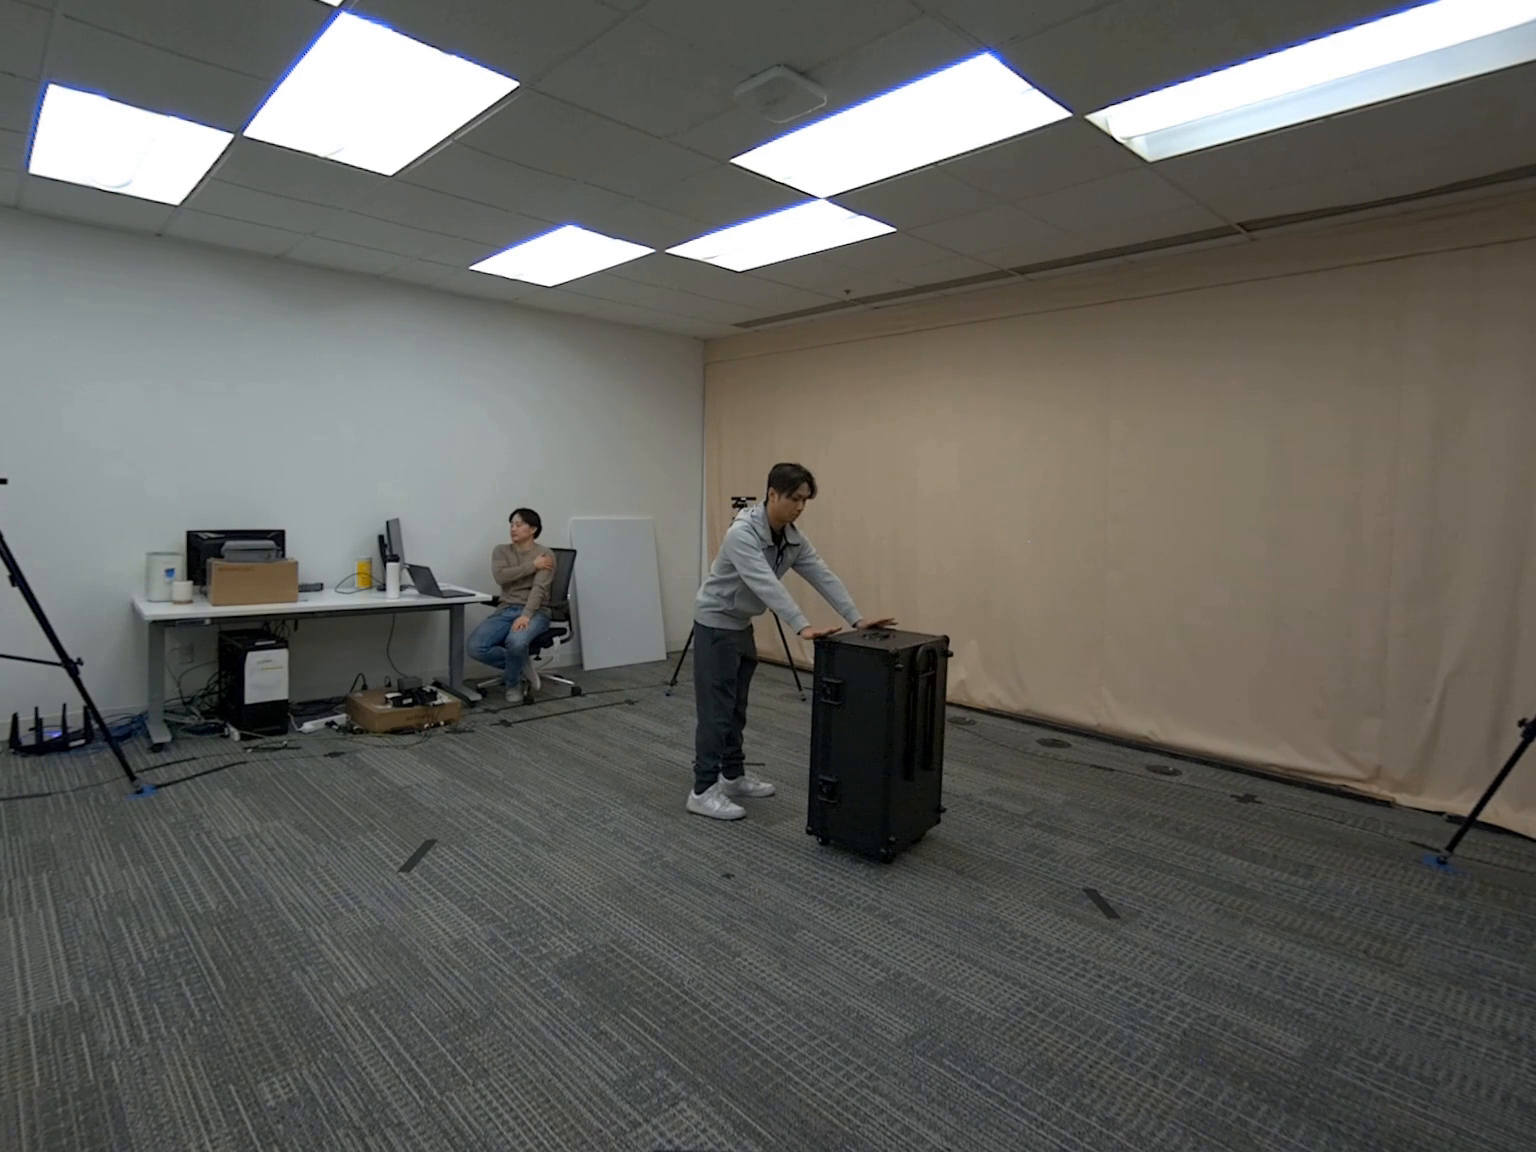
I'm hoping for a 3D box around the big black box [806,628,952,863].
[{"bbox_3d":[0.453,0.671,3.396,0.406,0.859,0.510,5,5,37],"label":"big black box"}]
